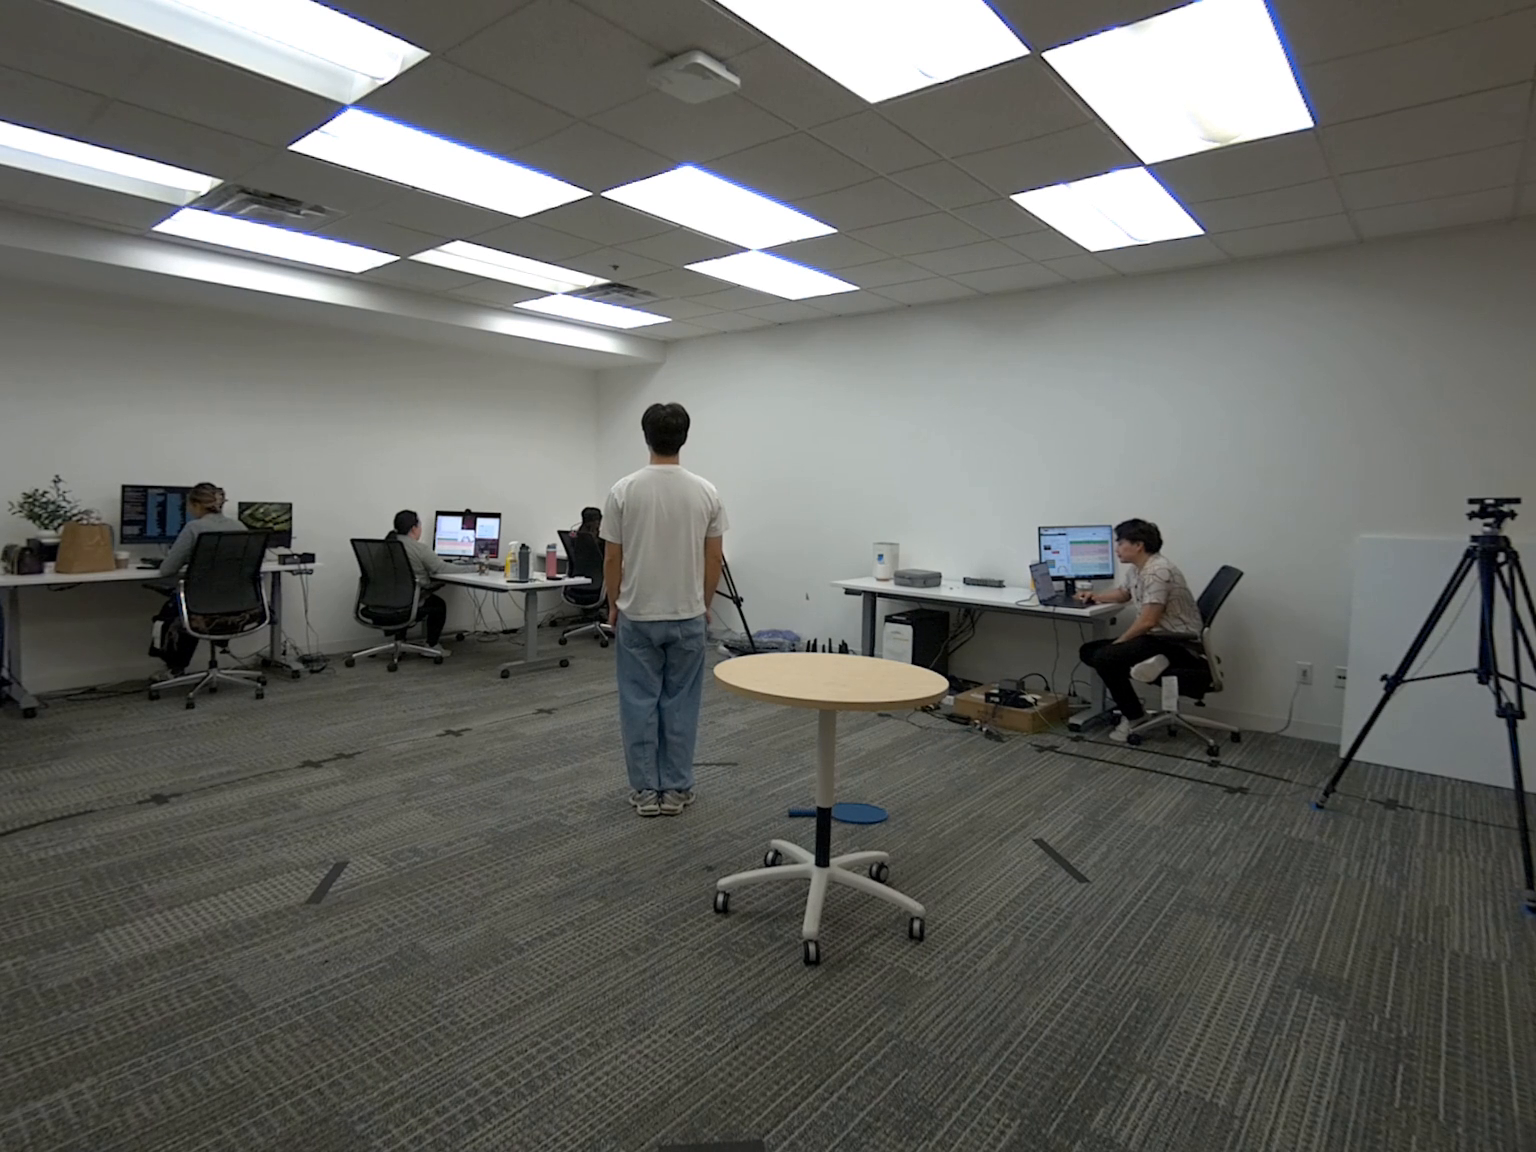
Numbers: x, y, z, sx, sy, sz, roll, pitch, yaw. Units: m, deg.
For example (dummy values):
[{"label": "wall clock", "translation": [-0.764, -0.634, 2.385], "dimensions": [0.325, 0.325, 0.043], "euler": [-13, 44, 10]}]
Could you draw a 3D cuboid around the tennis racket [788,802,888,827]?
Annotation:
[{"label": "tennis racket", "translation": [0.281, 1.005, 3.648], "dimensions": [0.430, 0.031, 0.216], "euler": [2, 6, -5]}]
